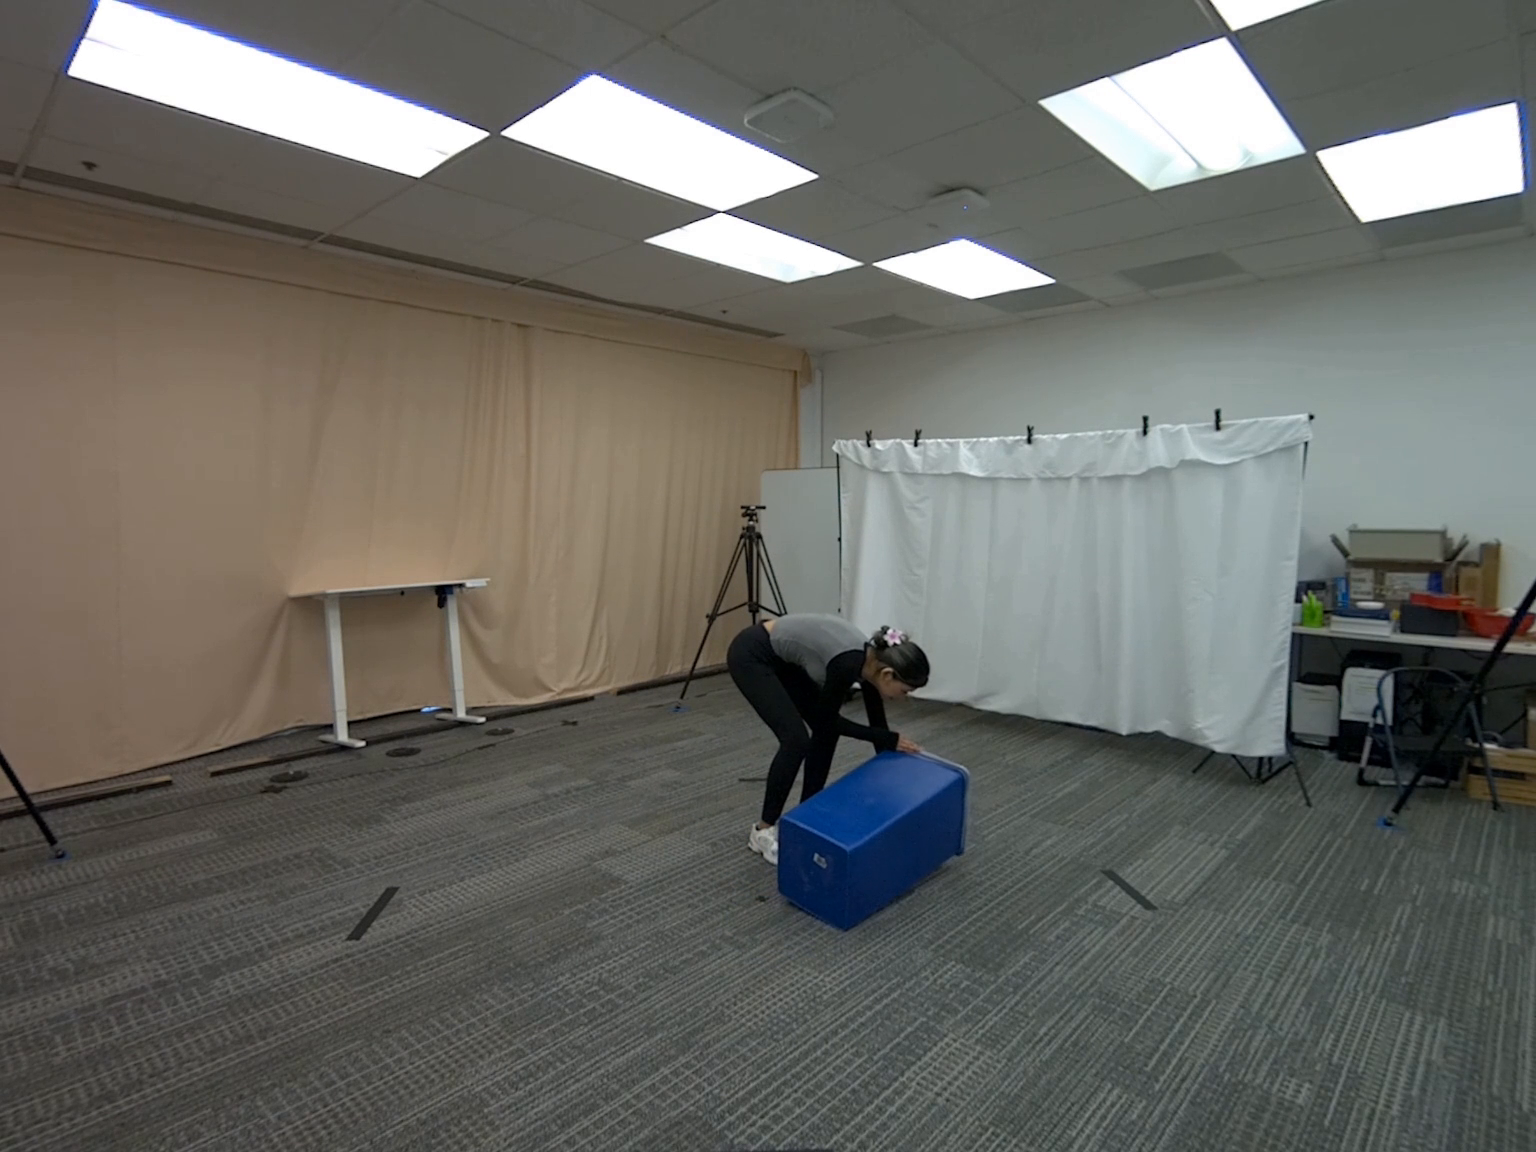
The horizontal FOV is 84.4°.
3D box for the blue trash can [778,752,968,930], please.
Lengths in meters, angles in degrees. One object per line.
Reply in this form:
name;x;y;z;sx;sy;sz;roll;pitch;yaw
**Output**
blue trash can;0.396;0.923;3.049;0.391;0.371;0.694;13;19;42
